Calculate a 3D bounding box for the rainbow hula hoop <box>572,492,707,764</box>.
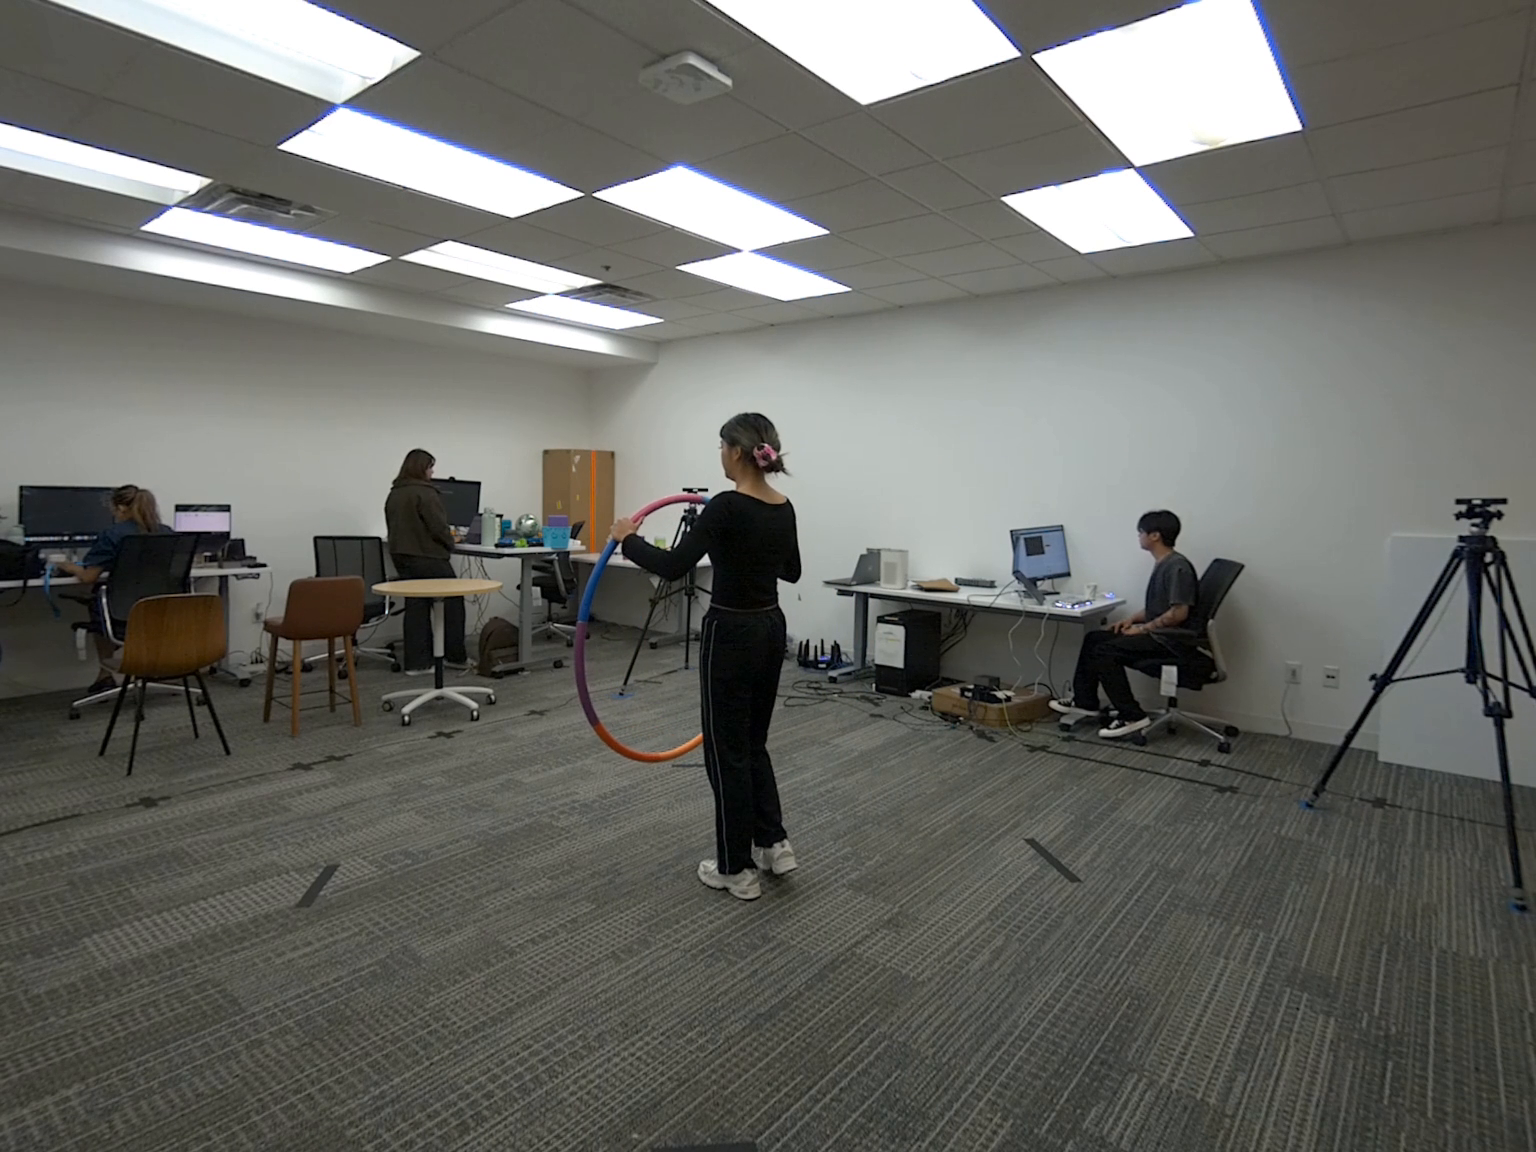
[{"bbox_3d":[-0.336,0.192,3.150,0.037,0.974,0.949,8,8,41],"label":"rainbow hula hoop"}]
